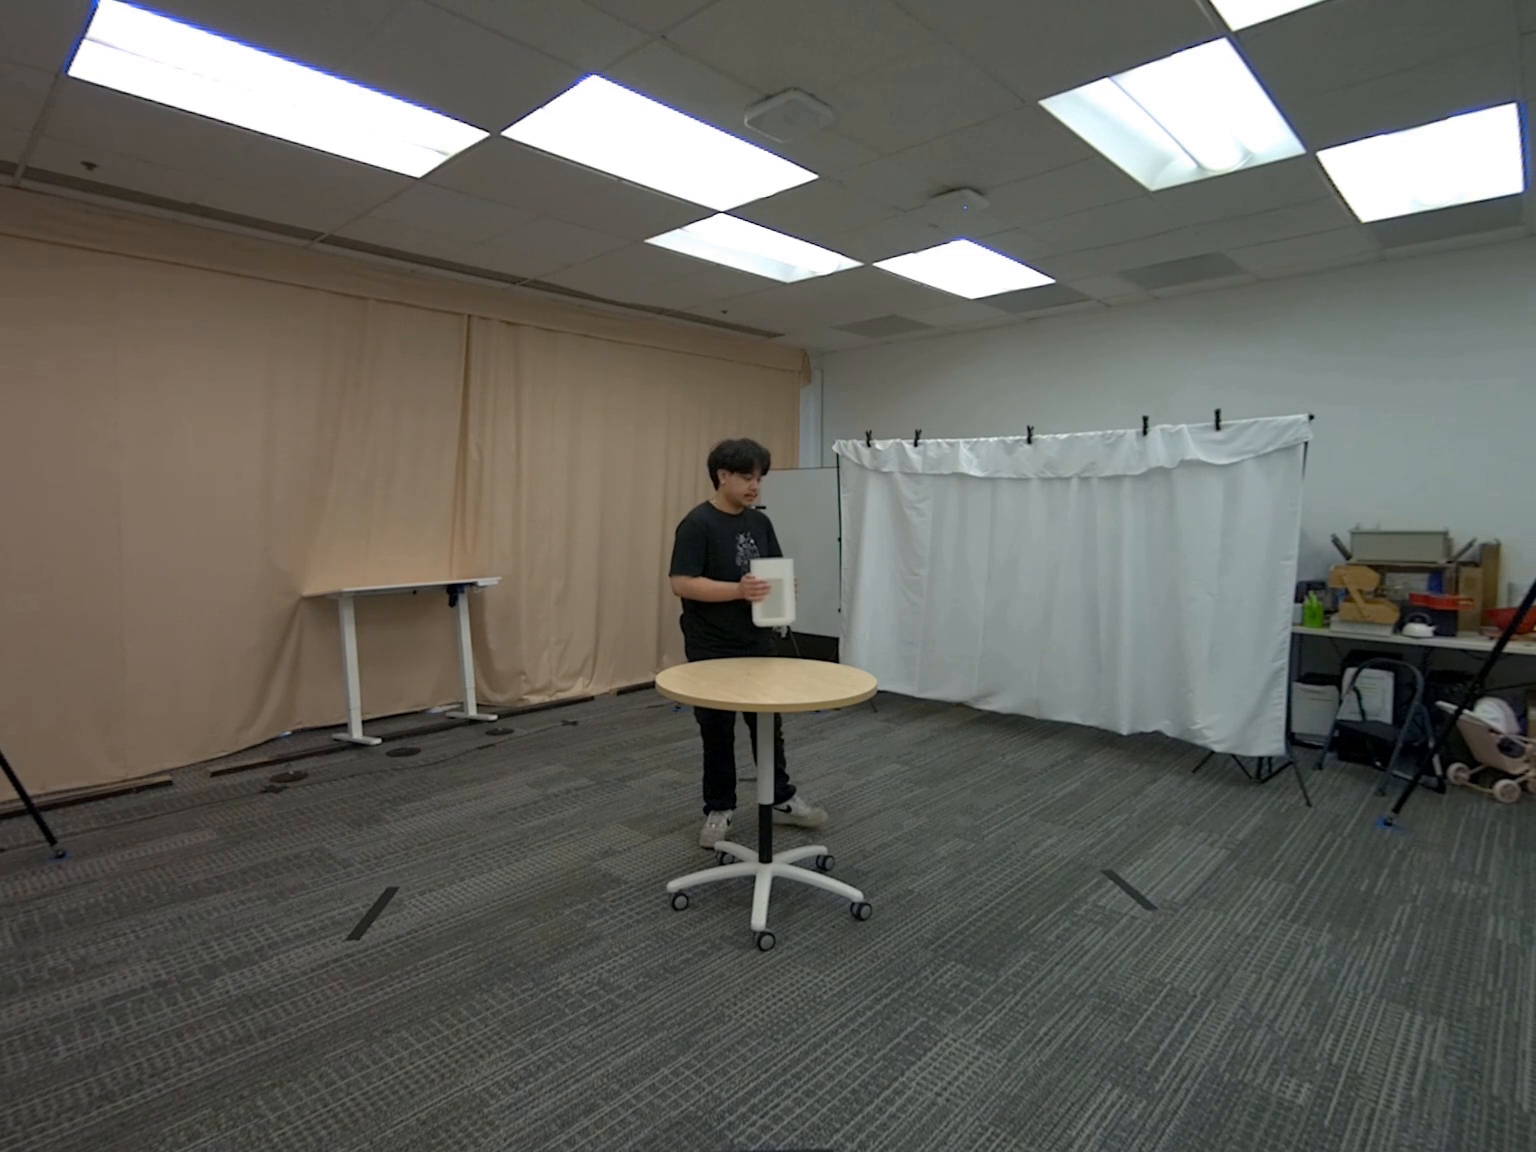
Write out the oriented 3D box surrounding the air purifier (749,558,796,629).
[{"bbox_3d":[0.023,0.064,3.335,0.172,0.265,0.170,-1,1,3],"label":"air purifier"}]
